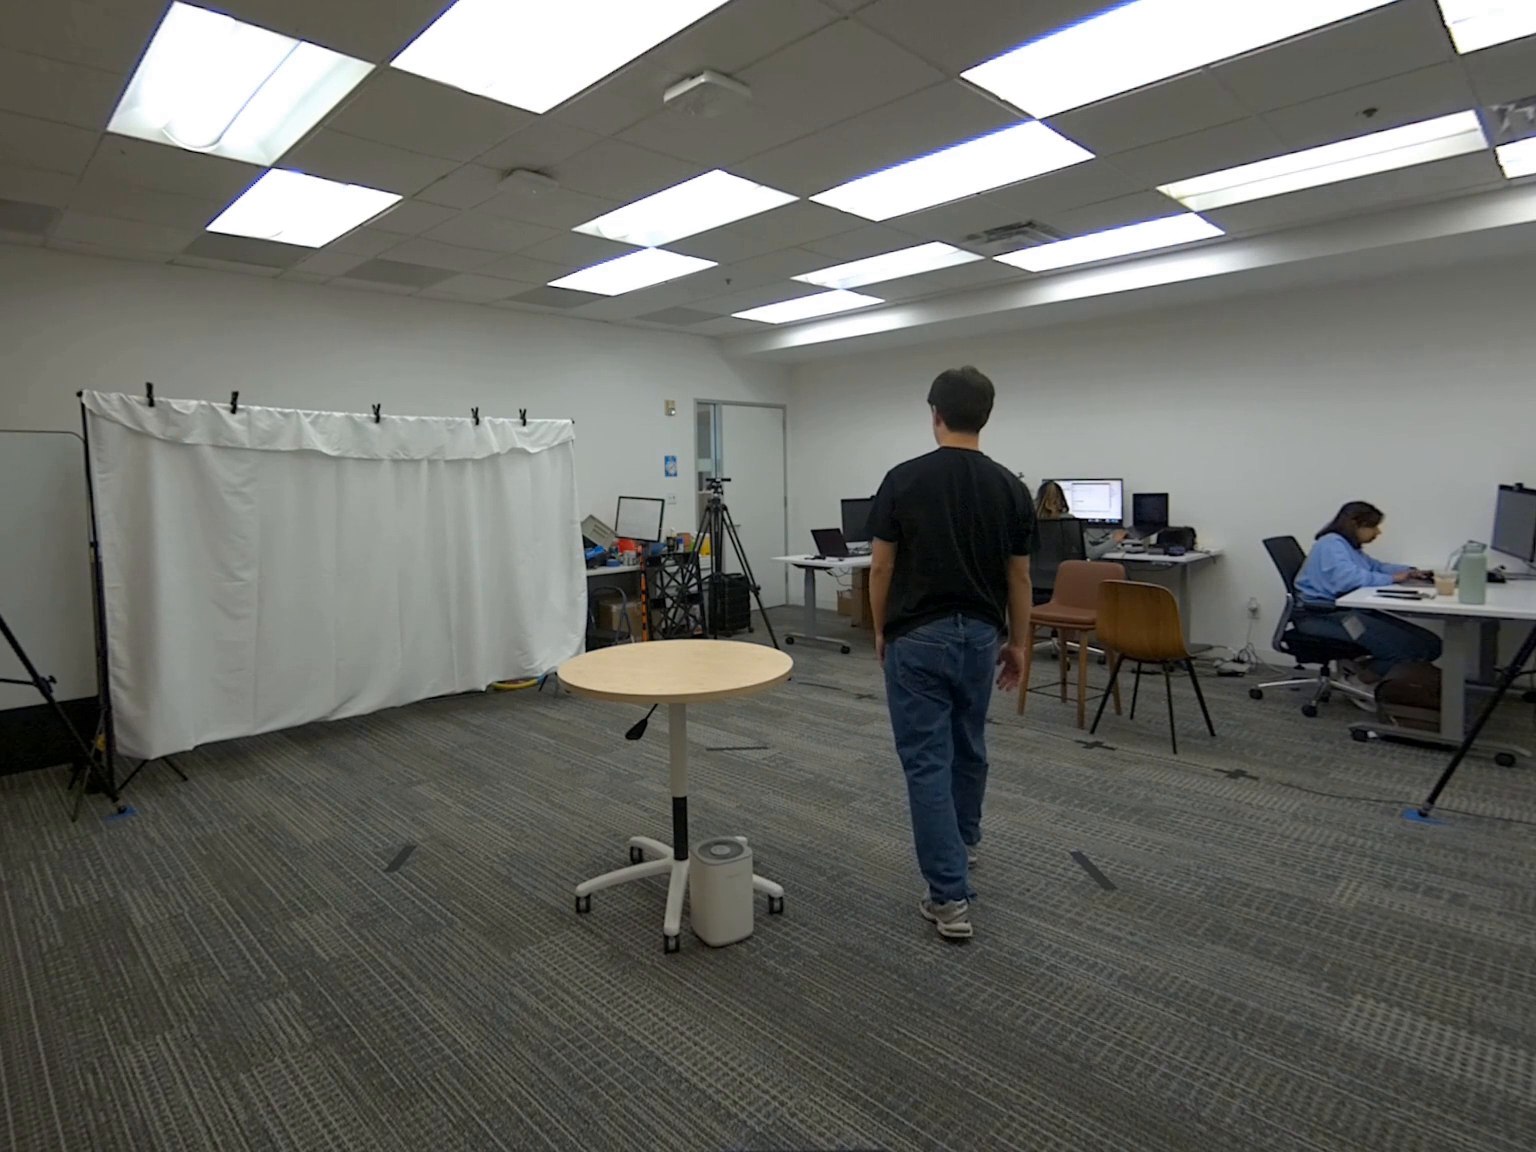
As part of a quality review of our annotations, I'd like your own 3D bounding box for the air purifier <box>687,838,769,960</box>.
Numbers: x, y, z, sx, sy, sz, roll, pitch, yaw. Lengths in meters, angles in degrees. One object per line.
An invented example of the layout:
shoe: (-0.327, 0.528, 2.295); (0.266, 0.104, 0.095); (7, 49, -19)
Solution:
air purifier: (-0.124, 0.975, 2.612); (0.166, 0.265, 0.176); (-2, 2, -37)
